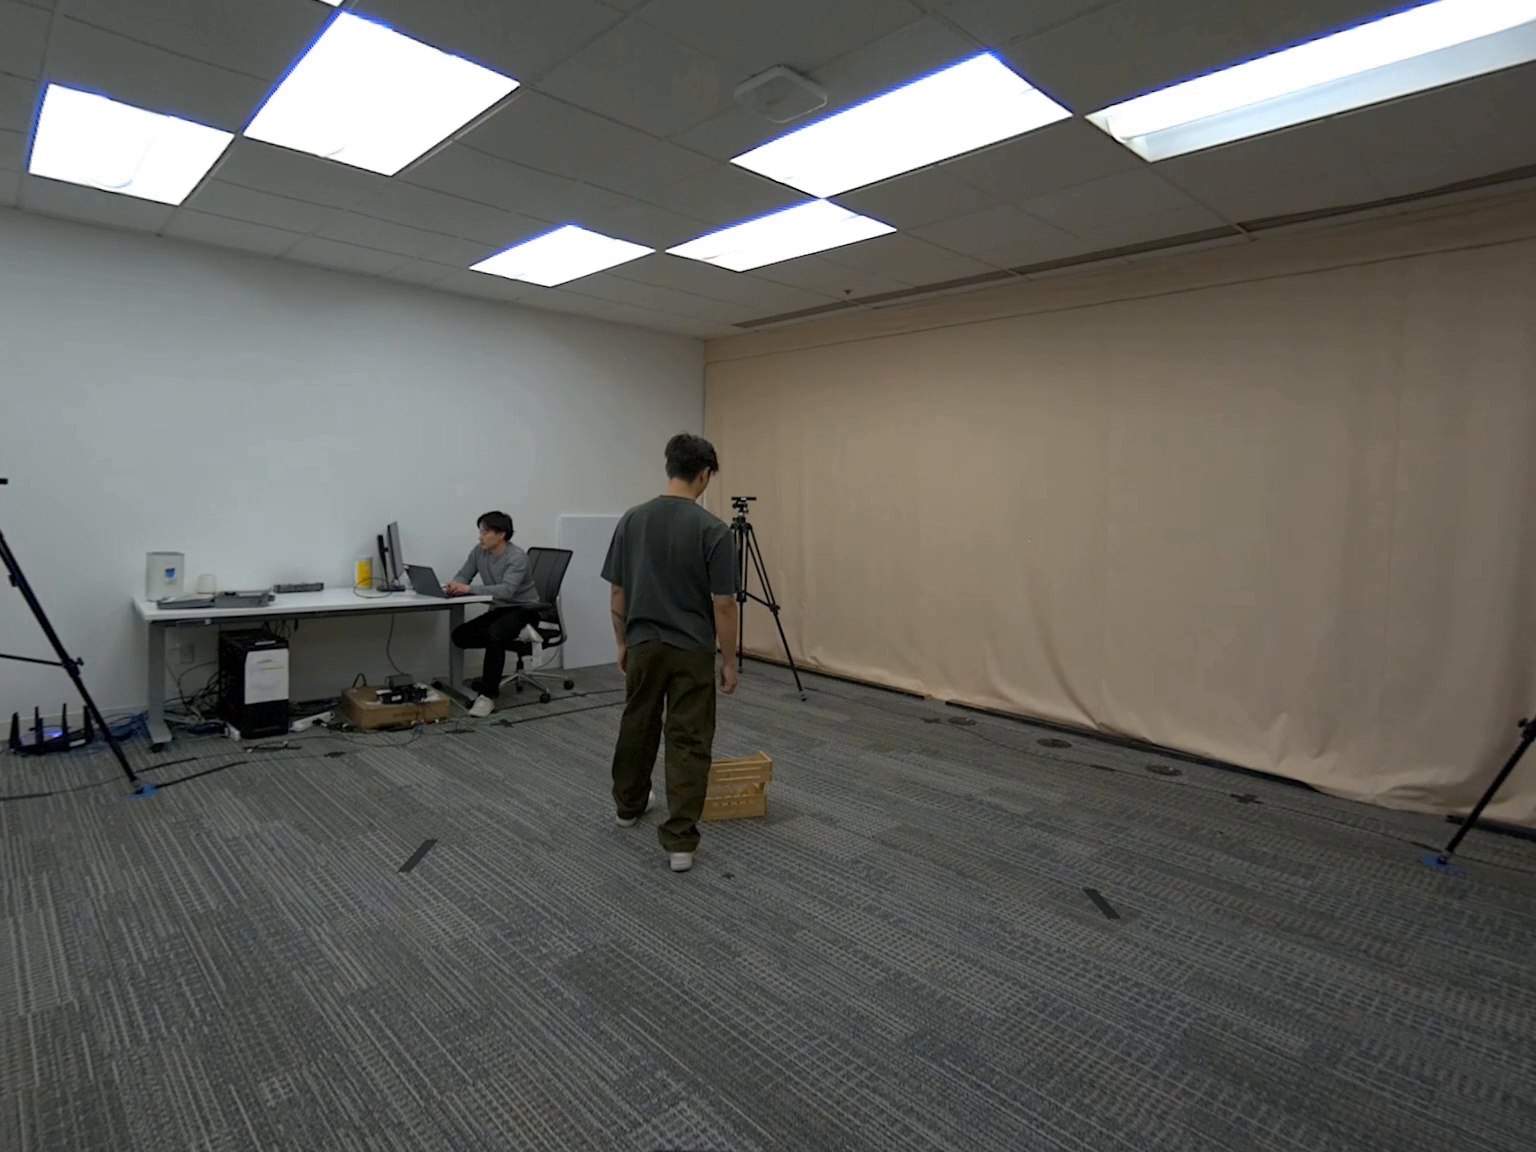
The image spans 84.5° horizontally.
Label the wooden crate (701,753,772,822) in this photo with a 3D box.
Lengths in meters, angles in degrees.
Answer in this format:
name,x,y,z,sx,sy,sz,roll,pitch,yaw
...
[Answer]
name,x,y,z,sx,sy,sz,roll,pitch,yaw
wooden crate,-0.192,0.917,3.764,0.320,0.273,0.307,0,3,-19
